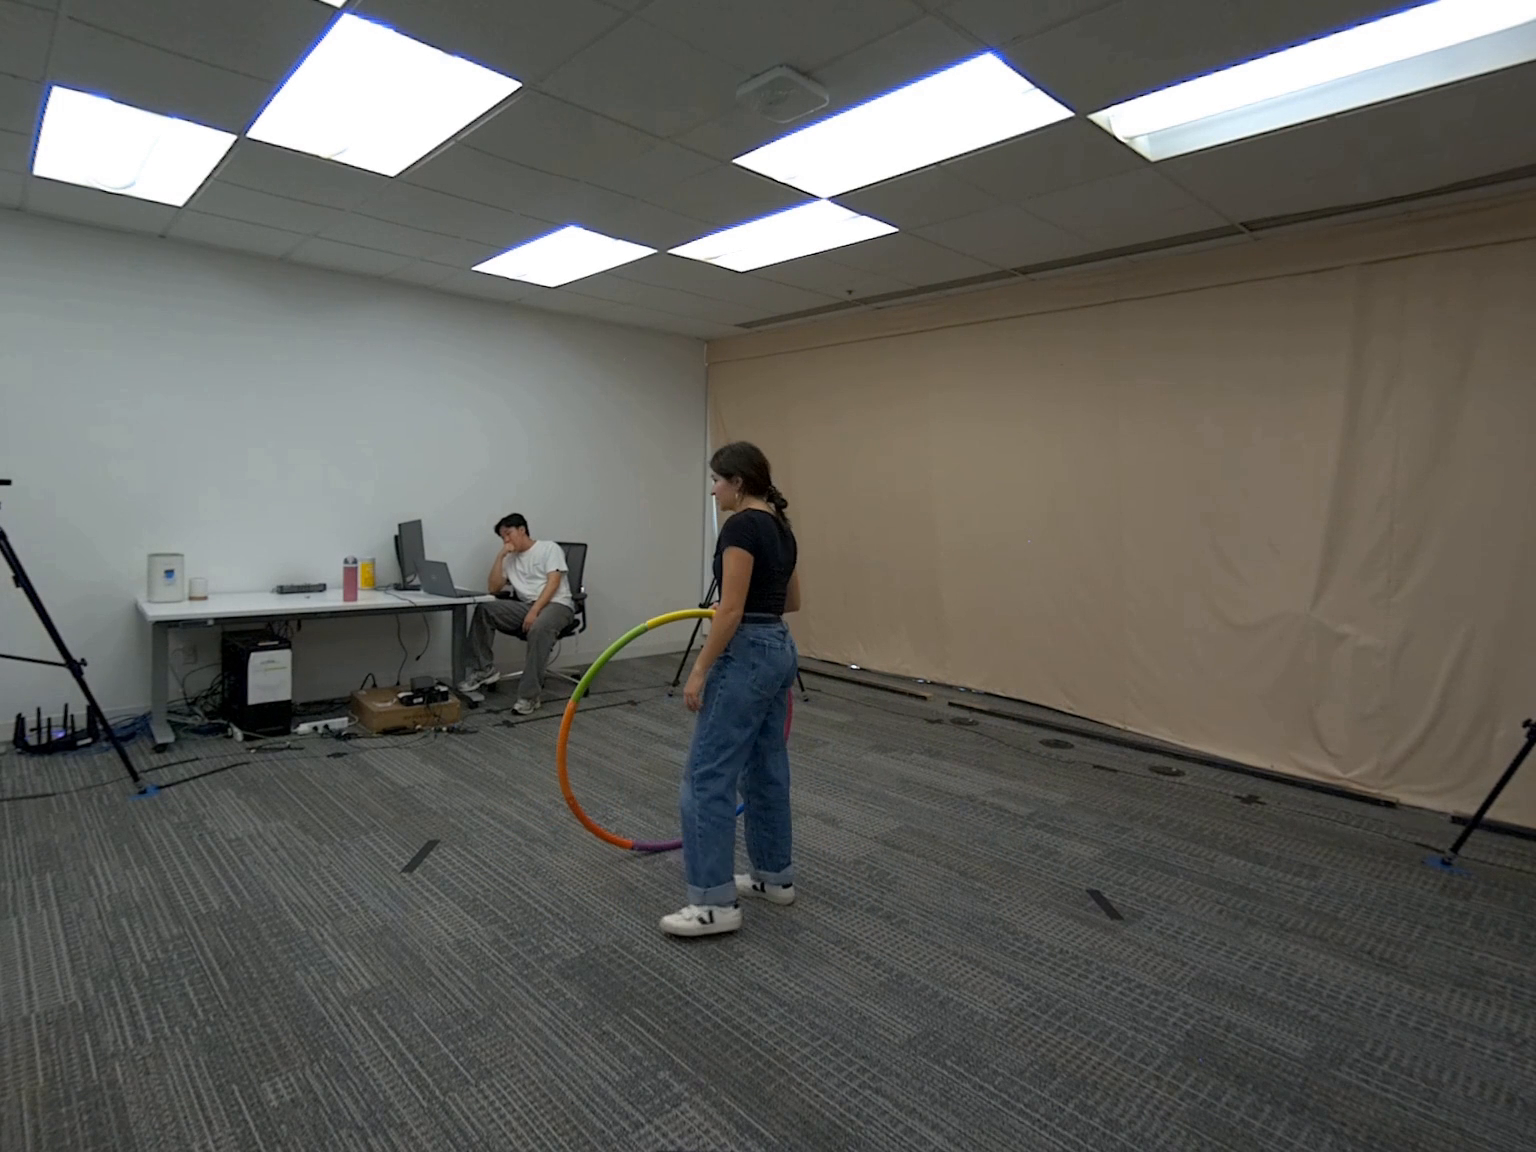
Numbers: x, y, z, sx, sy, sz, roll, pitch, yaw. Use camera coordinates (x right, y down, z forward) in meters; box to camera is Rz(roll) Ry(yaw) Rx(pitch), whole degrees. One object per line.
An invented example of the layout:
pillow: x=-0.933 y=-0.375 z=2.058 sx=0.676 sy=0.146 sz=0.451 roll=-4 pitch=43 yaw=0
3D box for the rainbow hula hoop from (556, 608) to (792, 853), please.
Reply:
rainbow hula hoop: x=-0.334 y=0.610 z=3.227 sx=0.959 sy=0.971 sz=0.036 roll=-1 pitch=14 yaw=-29
